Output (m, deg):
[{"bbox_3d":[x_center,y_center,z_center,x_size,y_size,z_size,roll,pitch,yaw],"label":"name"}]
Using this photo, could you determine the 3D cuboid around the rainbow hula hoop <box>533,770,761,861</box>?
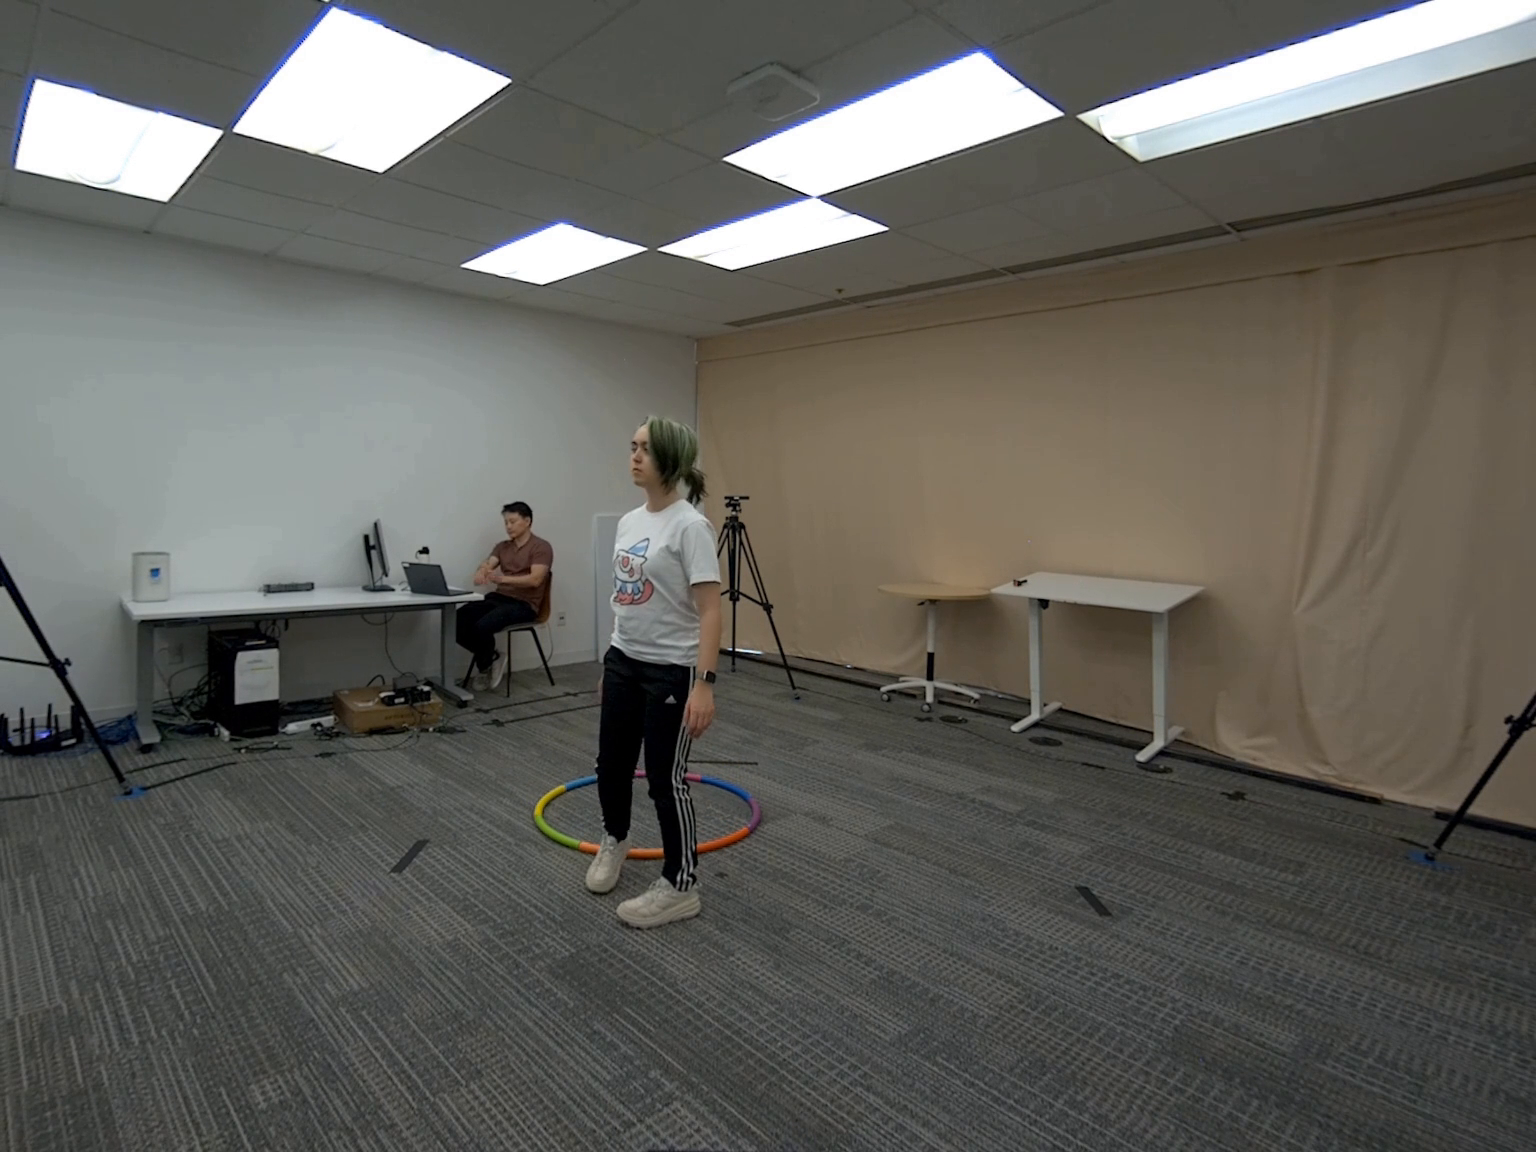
[{"bbox_3d":[-0.531,1.017,3.703,0.985,0.051,0.989,1,6,-1],"label":"rainbow hula hoop"}]
